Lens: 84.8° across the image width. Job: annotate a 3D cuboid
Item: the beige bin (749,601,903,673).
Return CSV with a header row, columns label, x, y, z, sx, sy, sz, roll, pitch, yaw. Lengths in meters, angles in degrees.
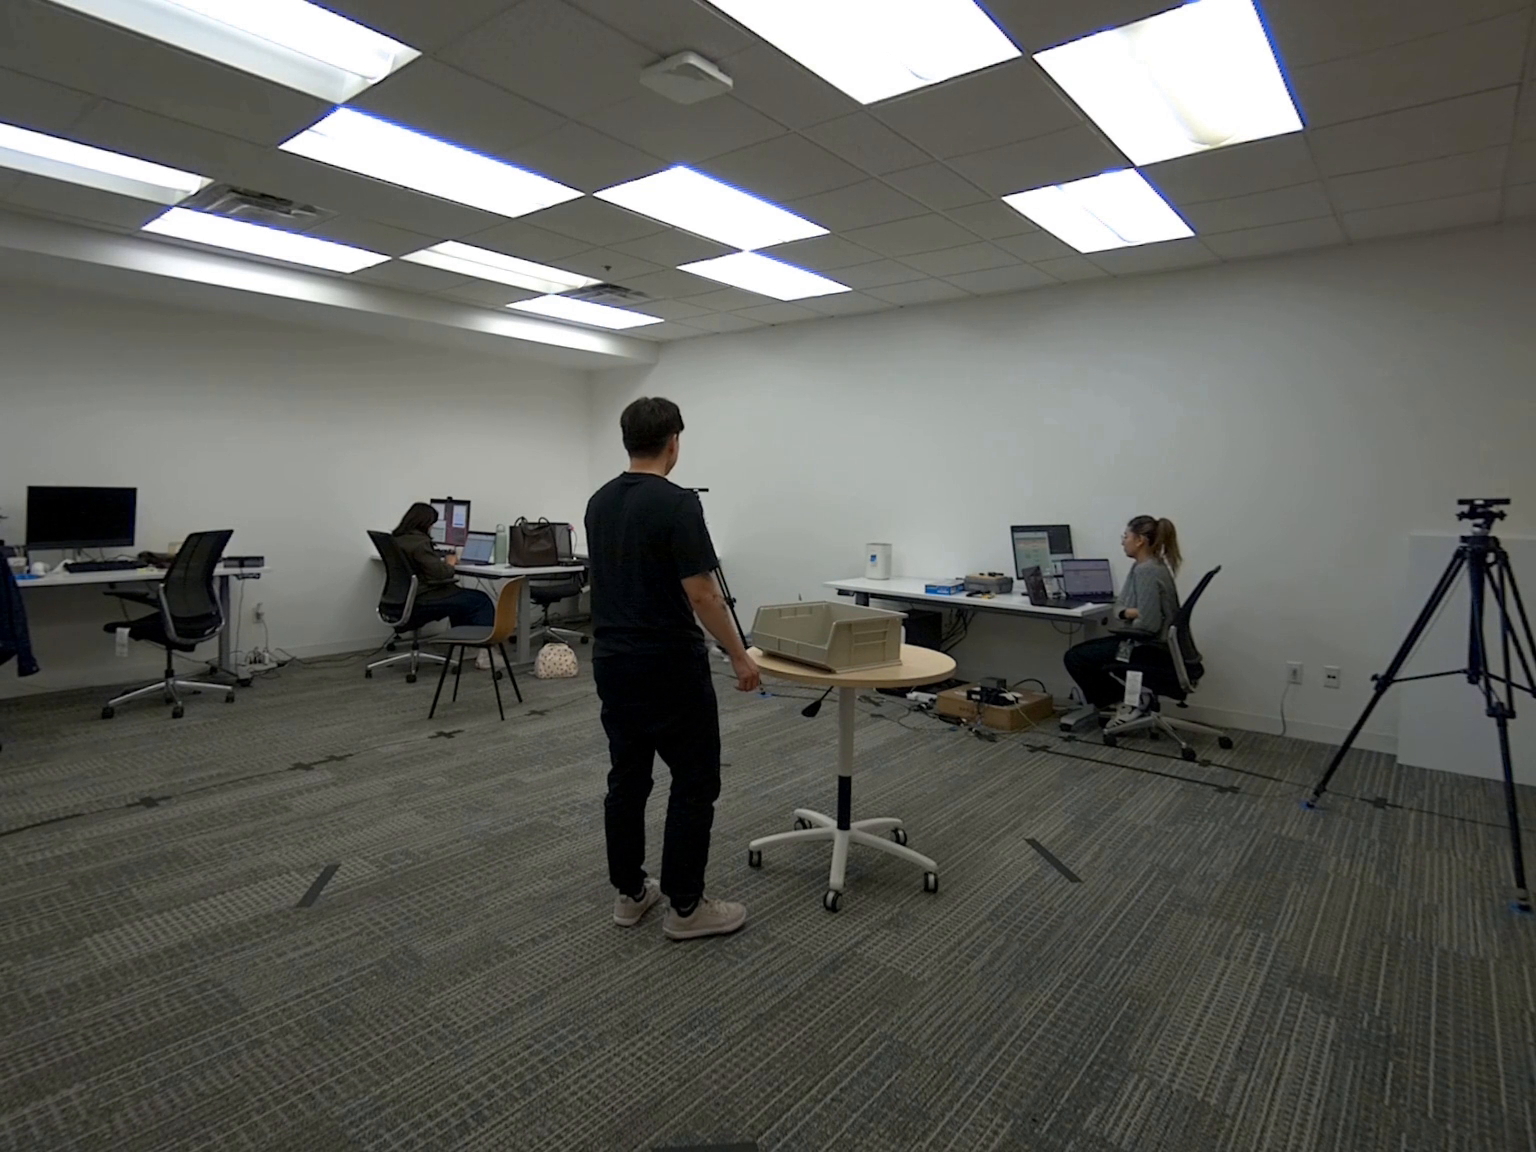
label,x,y,z,sx,sy,sz,roll,pitch,yaw
beige bin,0.204,0.212,3.059,0.366,0.188,0.436,-1,5,-36
